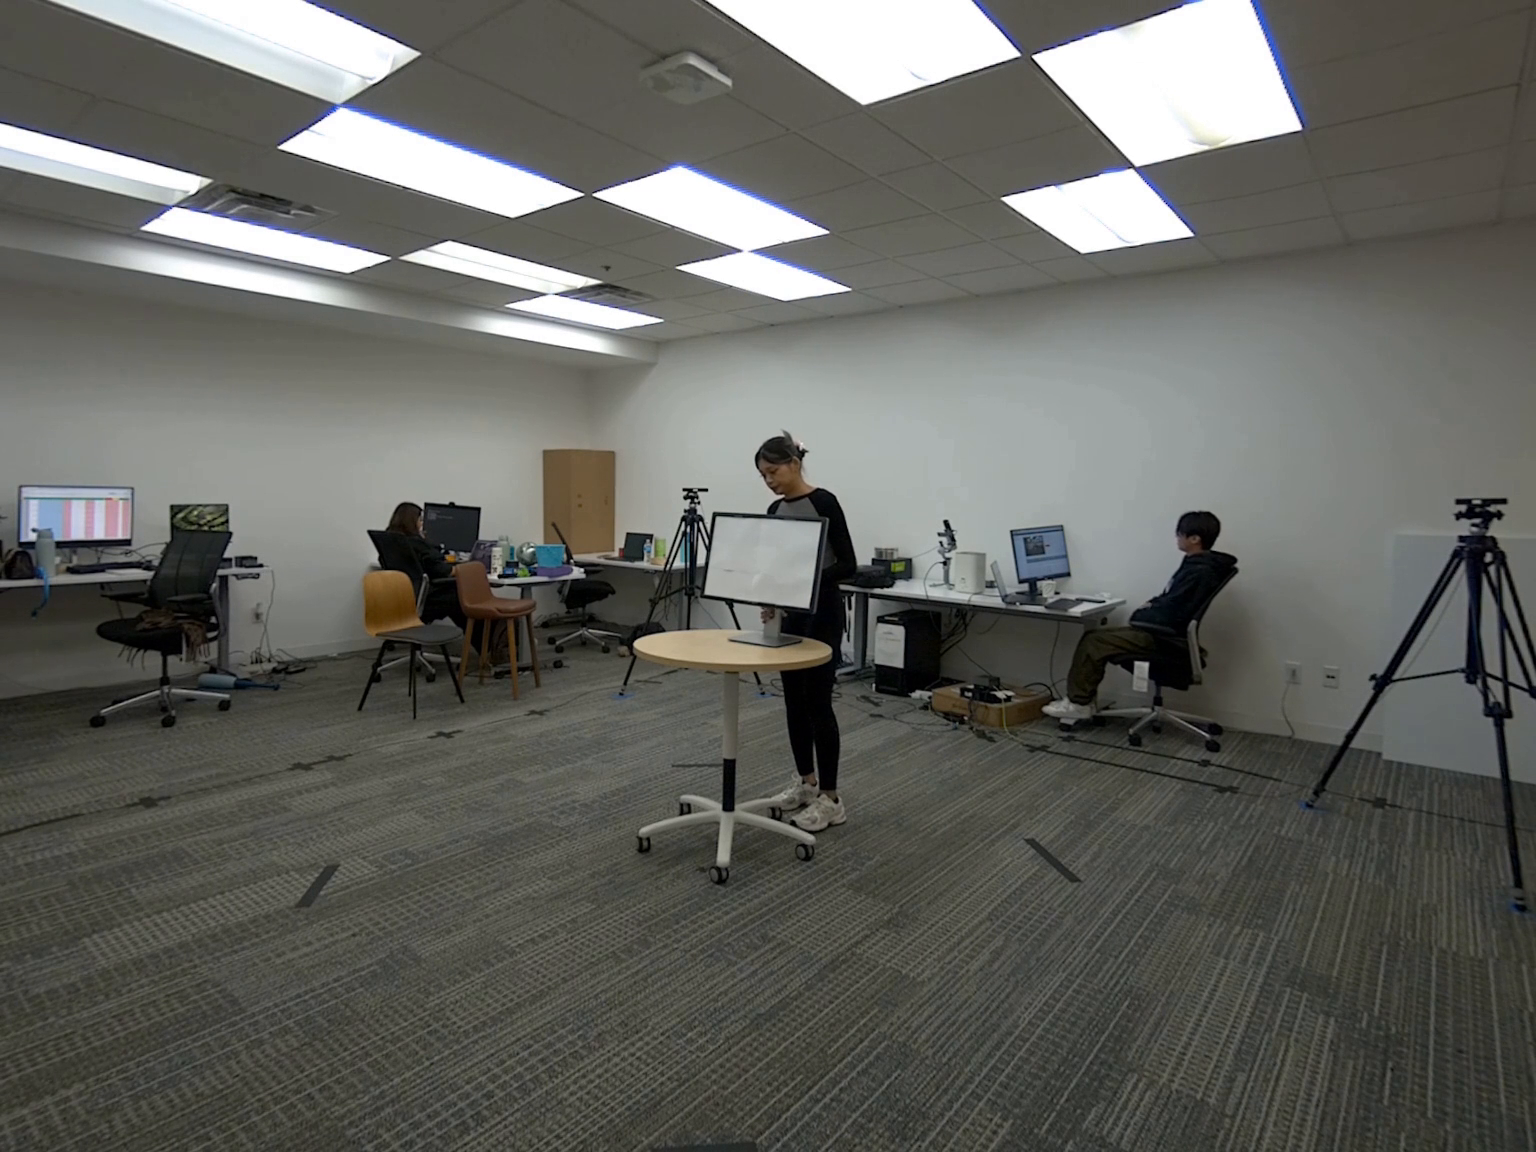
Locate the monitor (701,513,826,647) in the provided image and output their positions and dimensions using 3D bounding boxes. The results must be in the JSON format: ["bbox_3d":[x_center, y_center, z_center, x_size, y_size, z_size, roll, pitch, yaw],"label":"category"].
[{"bbox_3d":[-0.011,0.013,3.394,0.557,0.520,0.182,4,7,37],"label":"monitor"}]
